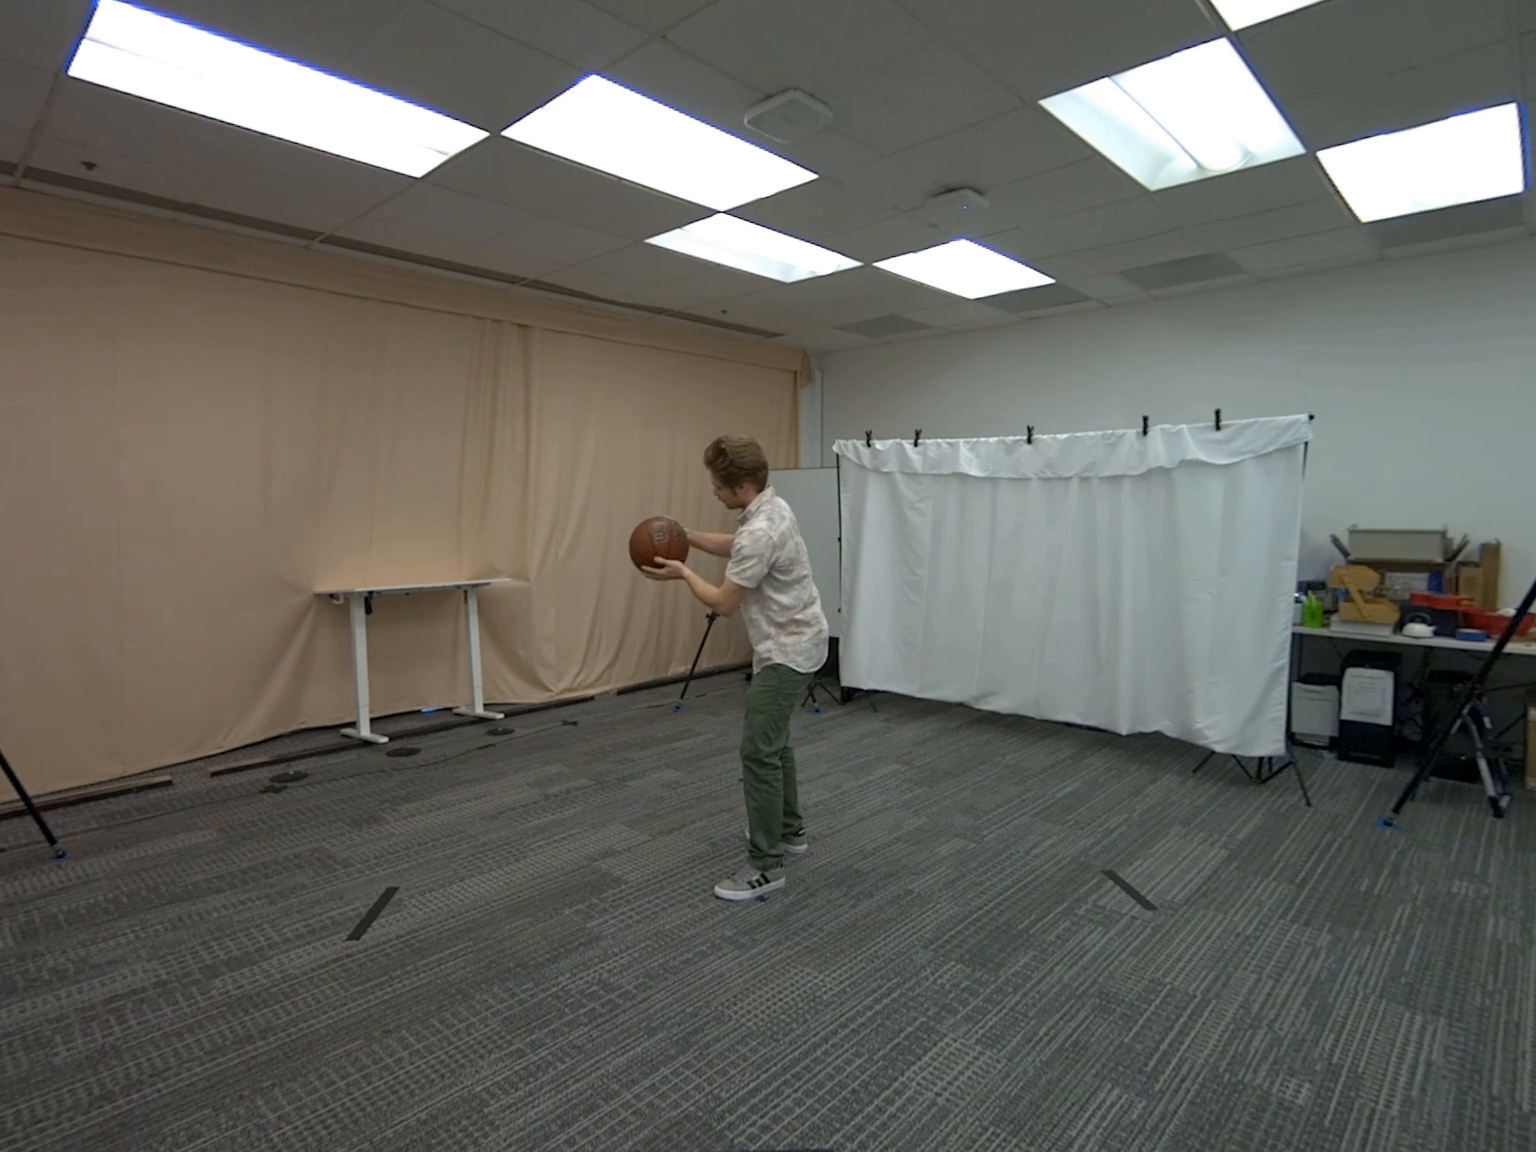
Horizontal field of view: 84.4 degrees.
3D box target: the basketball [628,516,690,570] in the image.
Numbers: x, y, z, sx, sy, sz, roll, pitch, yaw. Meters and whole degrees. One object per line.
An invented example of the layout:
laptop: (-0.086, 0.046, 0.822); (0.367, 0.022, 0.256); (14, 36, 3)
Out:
basketball: (-0.418, -0.109, 3.330); (0.236, 0.235, 0.237); (0, 4, -2)
